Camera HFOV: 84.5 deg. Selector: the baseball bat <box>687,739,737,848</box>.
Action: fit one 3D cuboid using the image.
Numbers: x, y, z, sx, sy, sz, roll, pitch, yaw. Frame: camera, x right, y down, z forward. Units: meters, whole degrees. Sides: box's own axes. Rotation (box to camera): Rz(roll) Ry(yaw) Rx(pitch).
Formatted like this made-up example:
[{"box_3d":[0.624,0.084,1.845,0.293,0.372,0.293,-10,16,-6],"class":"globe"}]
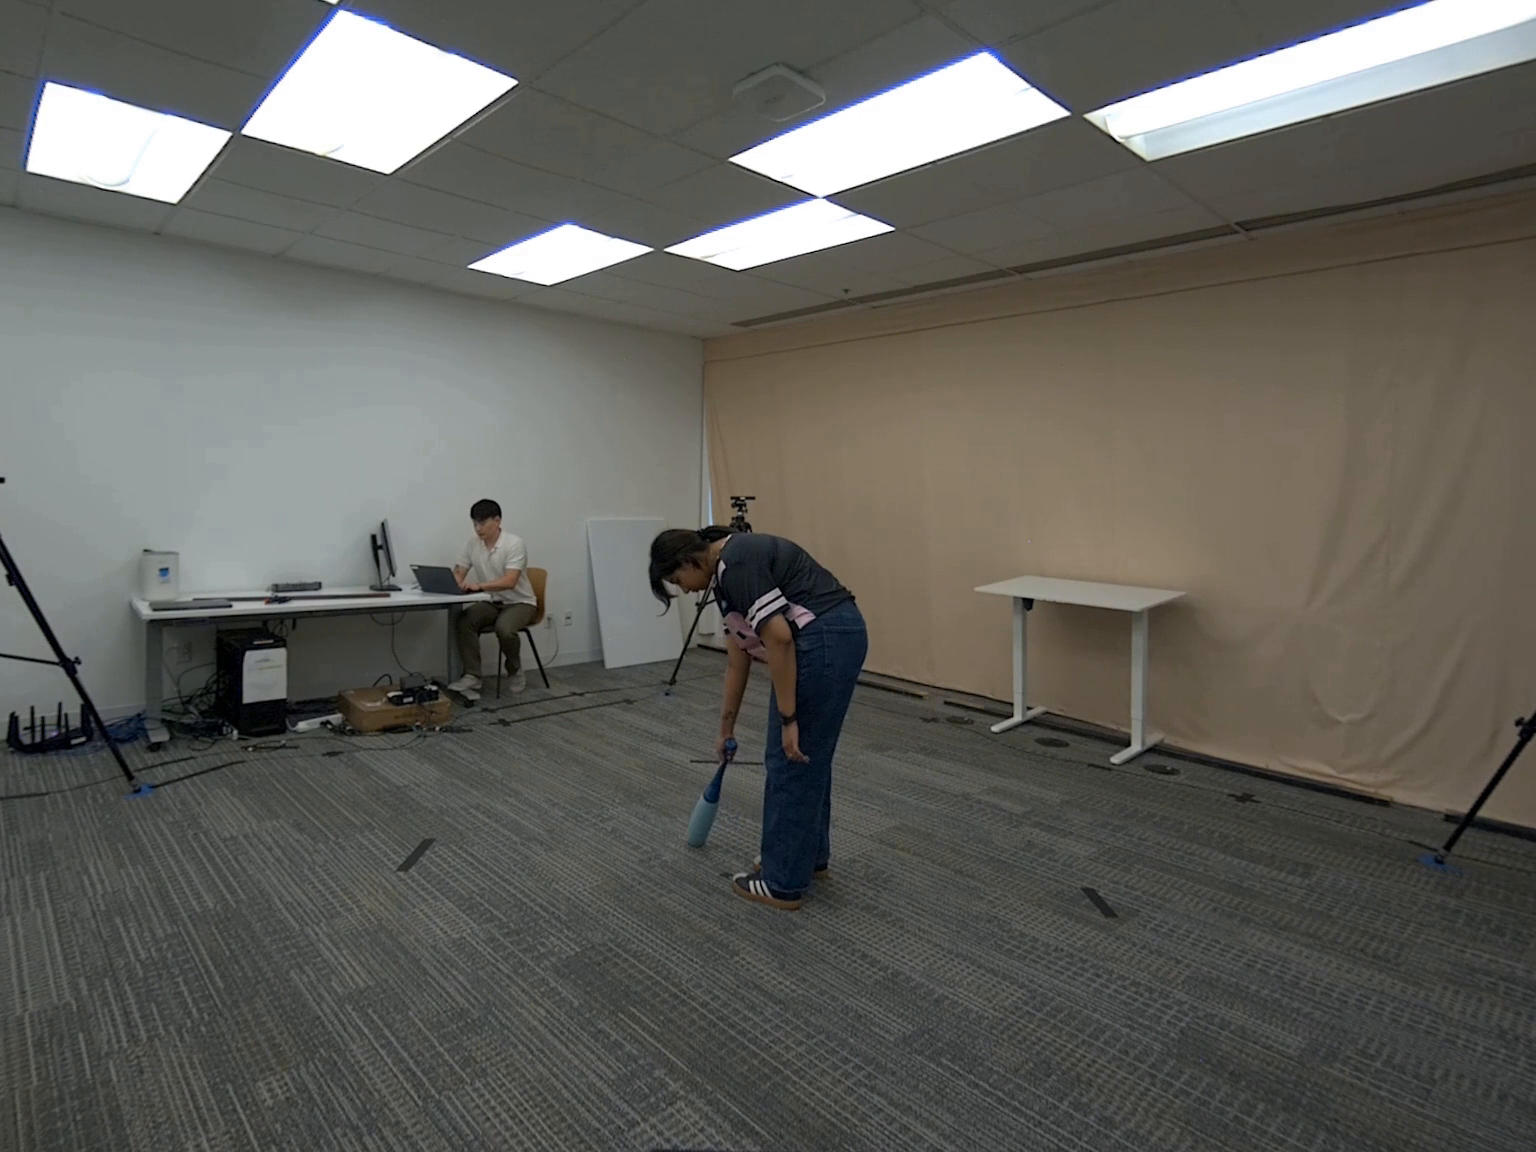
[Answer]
[{"box_3d":[-0.229,0.846,3.249,0.088,0.537,0.091,14,31,-10],"class":"baseball bat"}]
